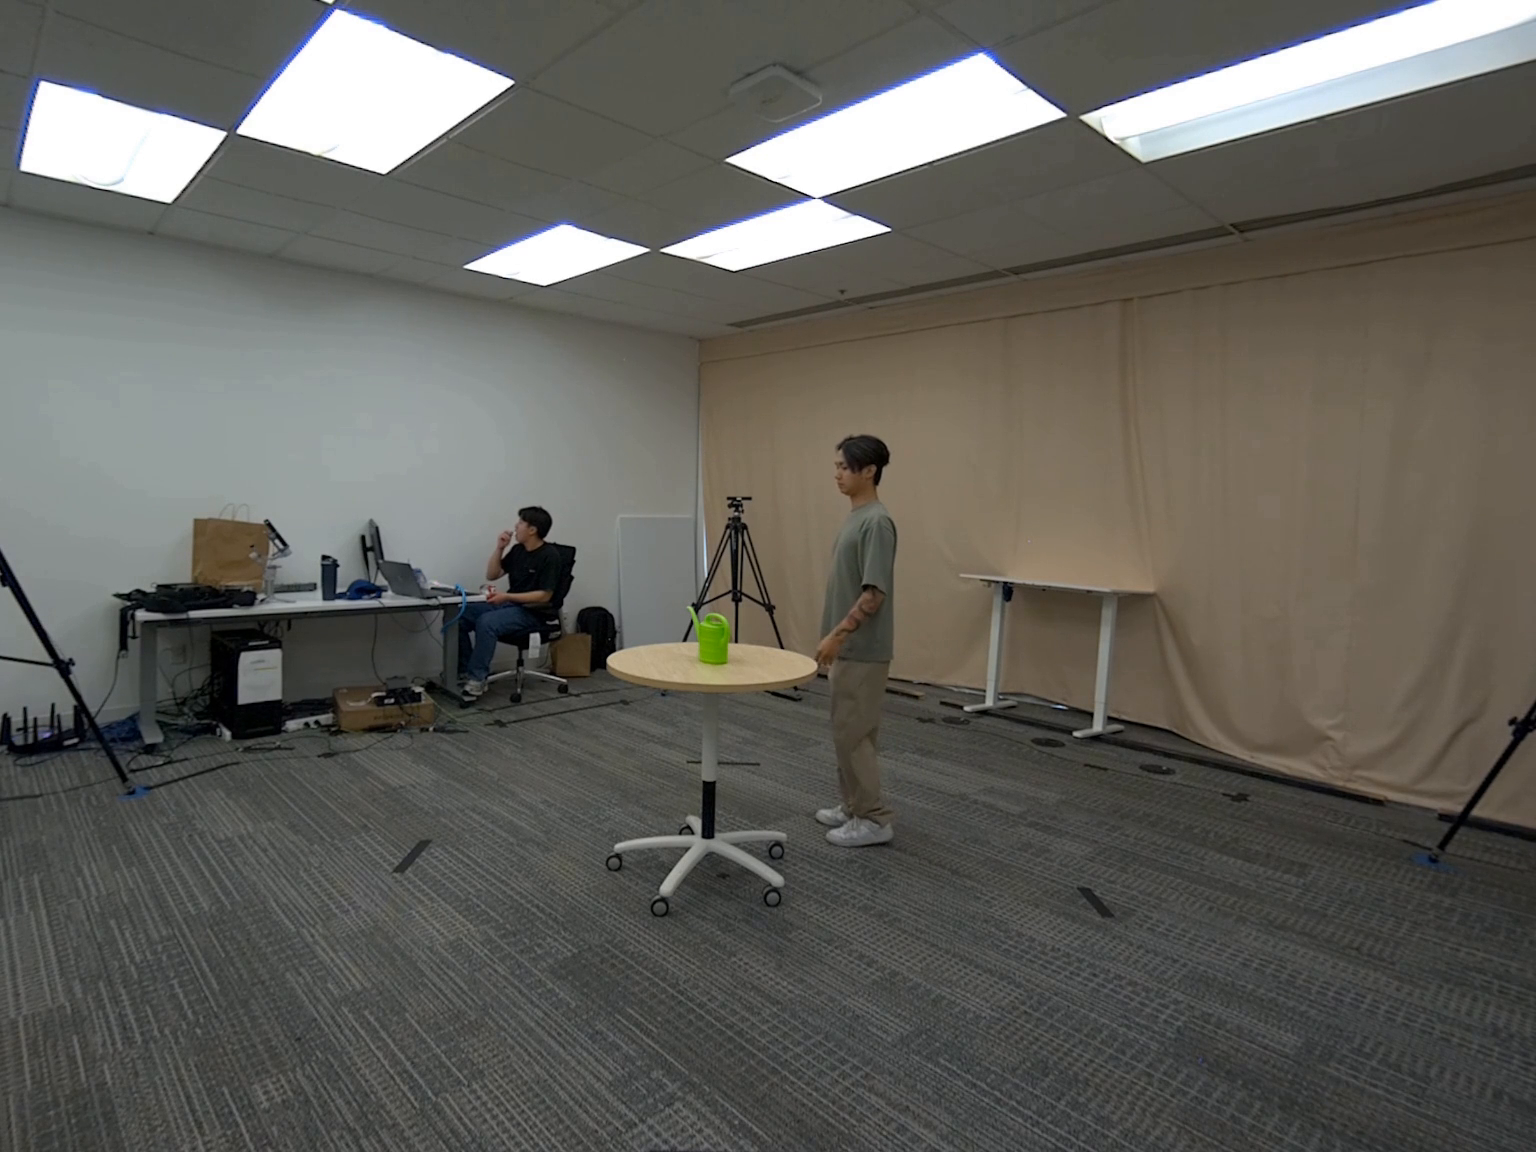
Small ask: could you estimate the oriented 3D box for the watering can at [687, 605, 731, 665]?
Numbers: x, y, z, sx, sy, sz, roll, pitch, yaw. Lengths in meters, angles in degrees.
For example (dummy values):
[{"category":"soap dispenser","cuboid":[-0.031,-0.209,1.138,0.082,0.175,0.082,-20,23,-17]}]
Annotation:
[{"category":"watering can","cuboid":[-0.219,0.220,3.105,0.096,0.176,0.284,1,6,-22]}]
